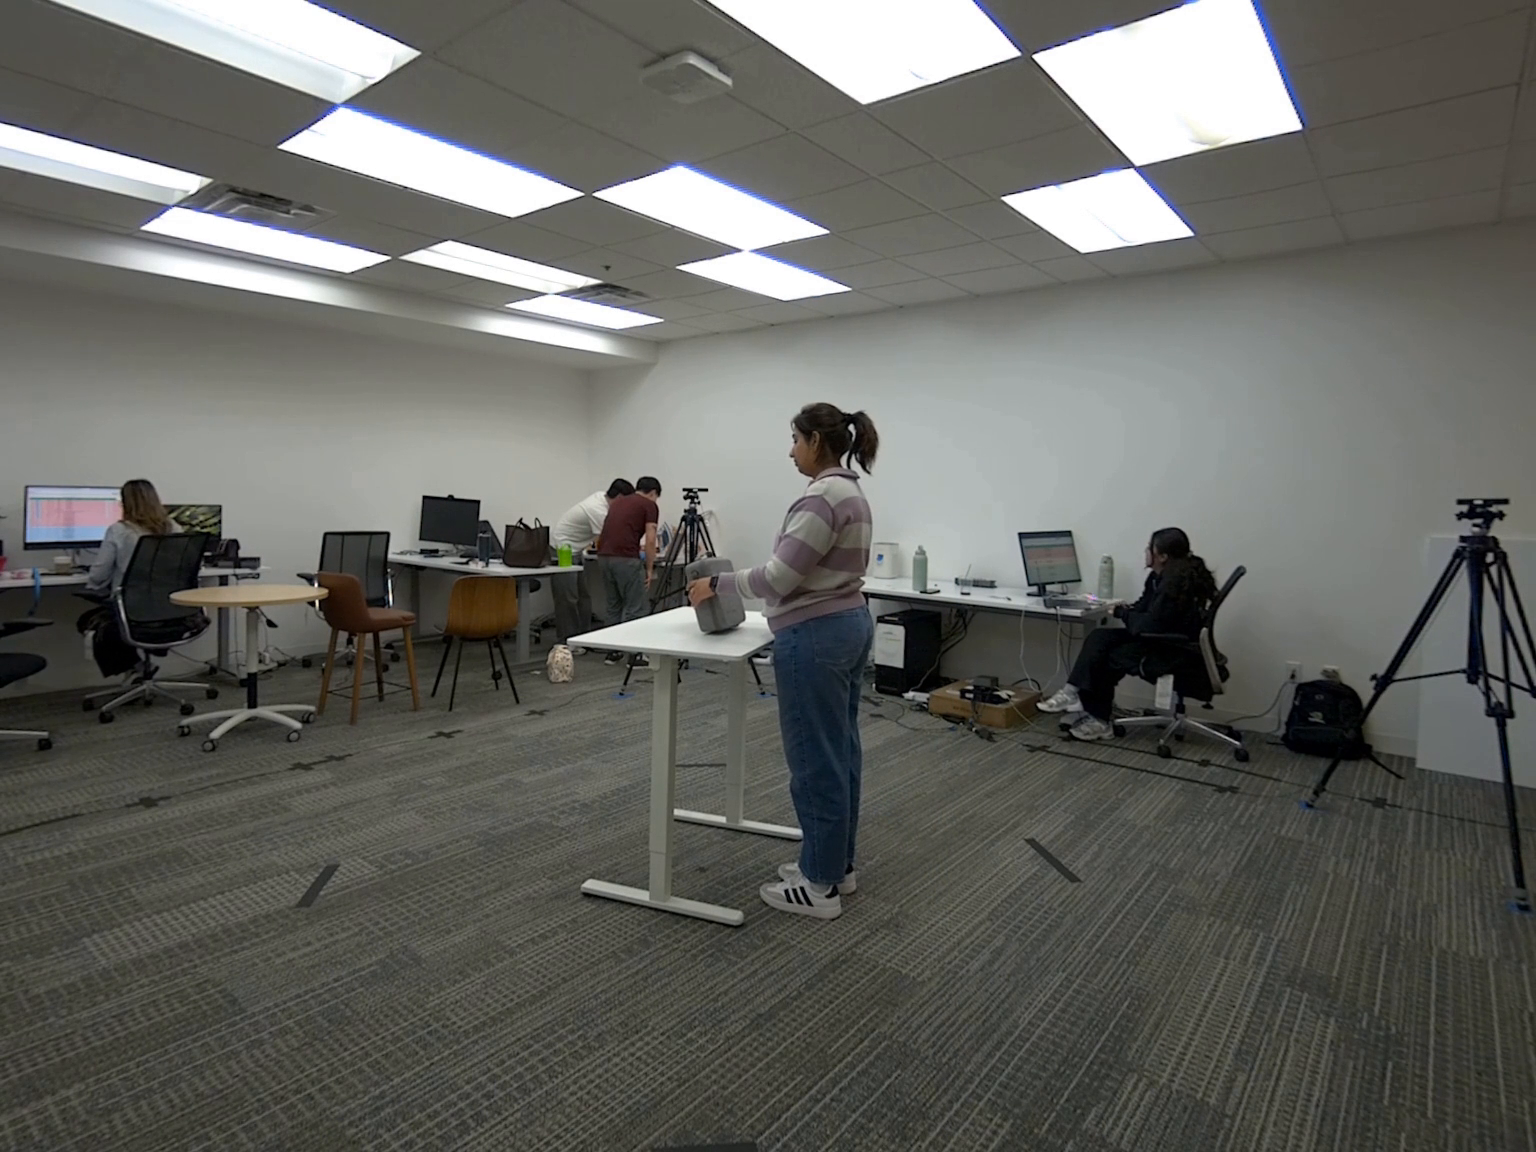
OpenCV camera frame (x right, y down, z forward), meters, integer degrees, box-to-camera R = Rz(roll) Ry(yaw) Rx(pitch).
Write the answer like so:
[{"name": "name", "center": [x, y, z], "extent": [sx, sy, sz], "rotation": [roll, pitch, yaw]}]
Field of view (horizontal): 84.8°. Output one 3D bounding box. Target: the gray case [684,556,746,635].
[{"name": "gray case", "center": [-0.199, 0.059, 3.054], "extent": [0.106, 0.263, 0.252], "rotation": [-16, -5, 18]}]
